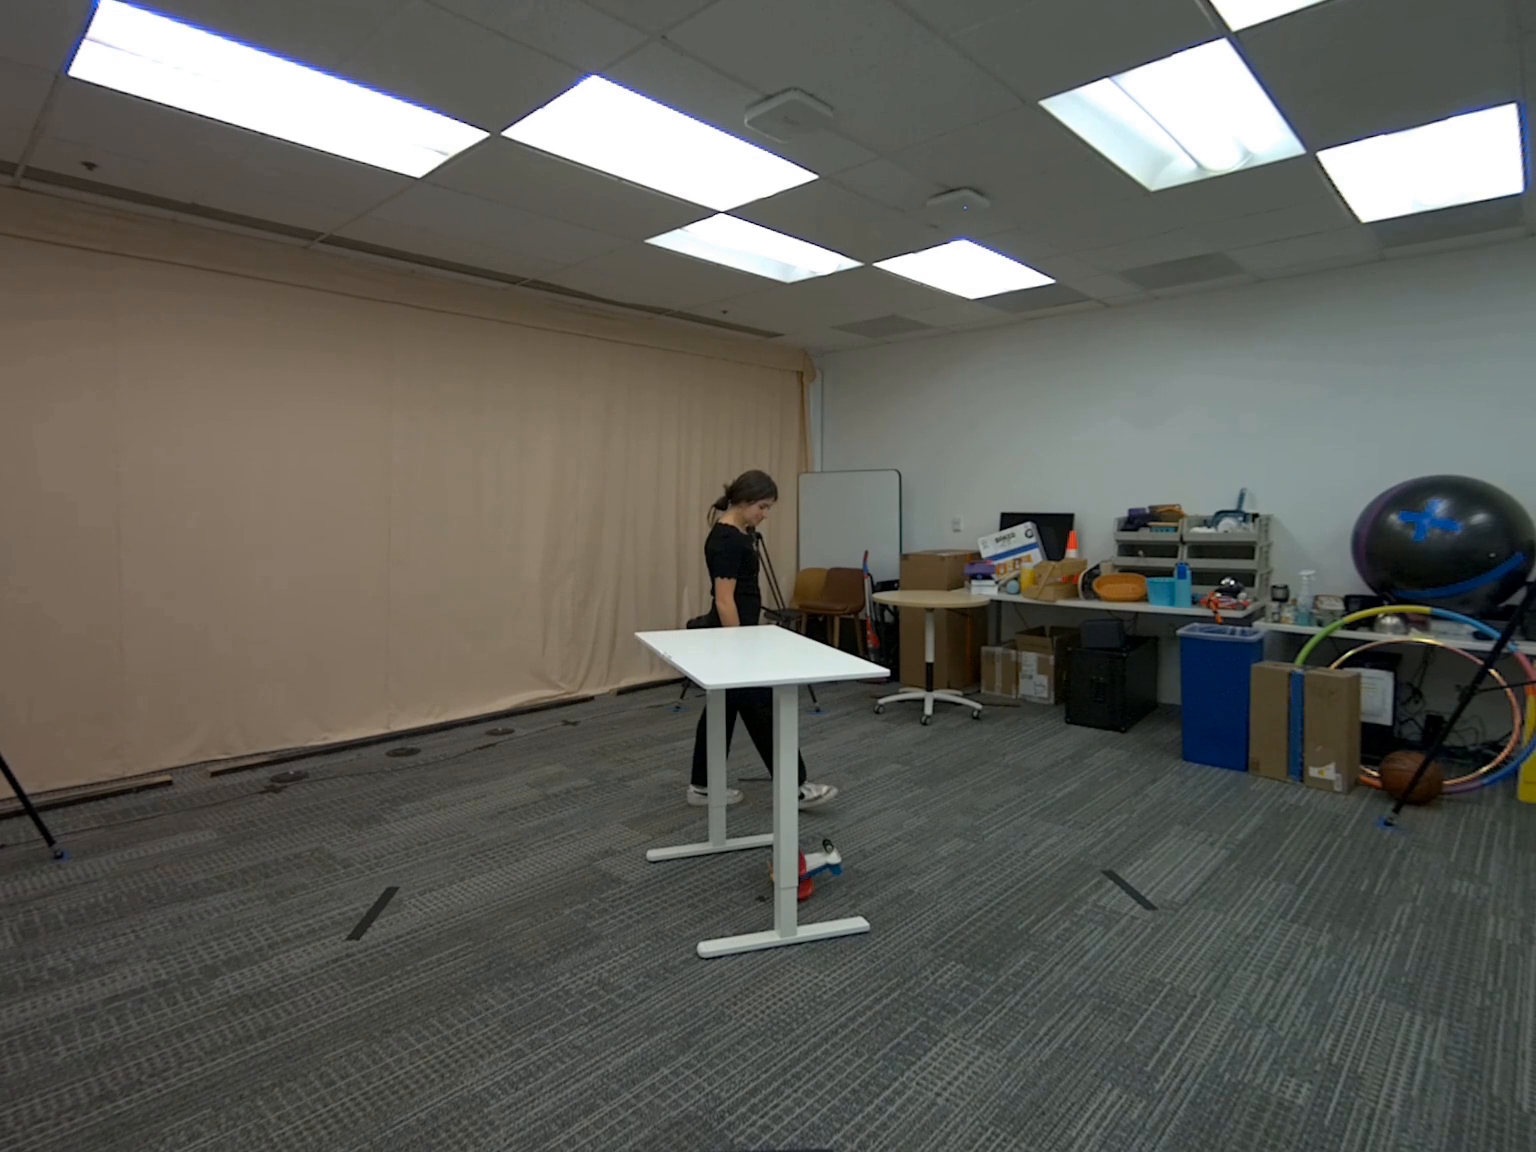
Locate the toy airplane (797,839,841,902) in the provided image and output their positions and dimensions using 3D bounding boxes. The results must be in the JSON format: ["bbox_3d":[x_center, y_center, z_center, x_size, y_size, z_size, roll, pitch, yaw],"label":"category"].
[{"bbox_3d":[0.130,1.051,3.056,0.265,0.156,0.246,-2,6,23],"label":"toy airplane"}]
